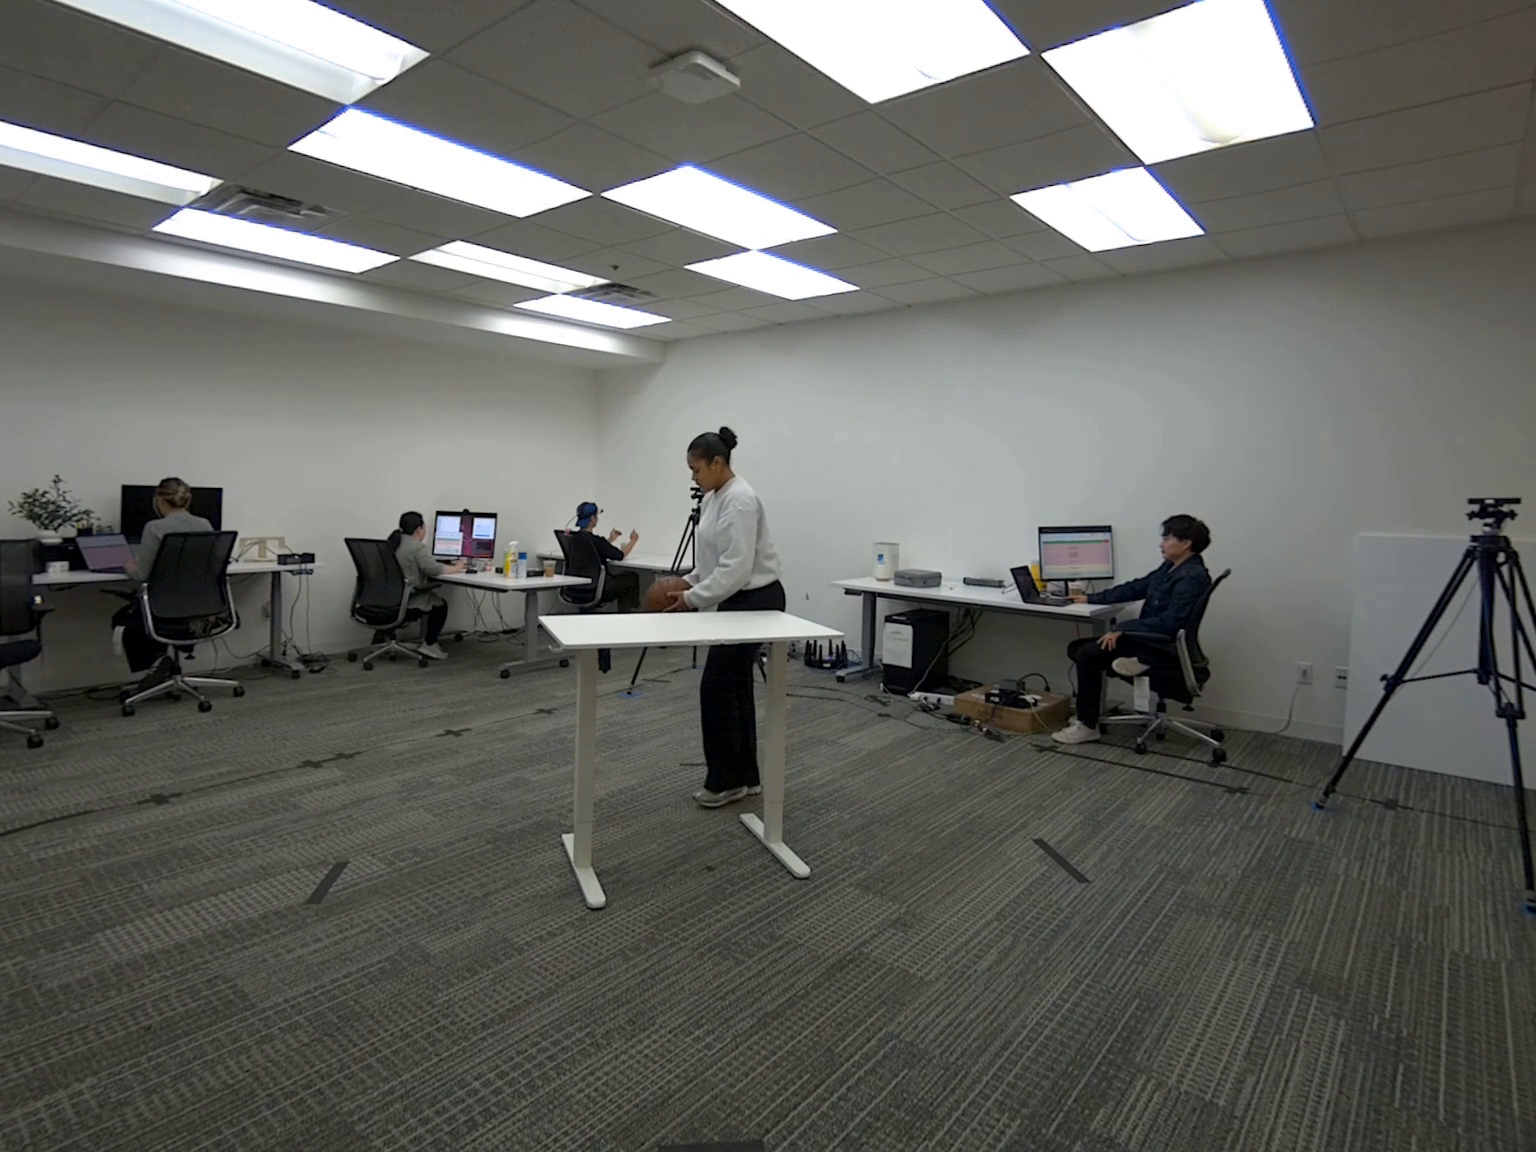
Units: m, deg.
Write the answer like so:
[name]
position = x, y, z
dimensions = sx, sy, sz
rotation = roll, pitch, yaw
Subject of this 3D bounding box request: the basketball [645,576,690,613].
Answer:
[basketball]
position = -0.436, 0.117, 3.813
dimensions = 0.235, 0.235, 0.237
rotation = 1, 4, -2
